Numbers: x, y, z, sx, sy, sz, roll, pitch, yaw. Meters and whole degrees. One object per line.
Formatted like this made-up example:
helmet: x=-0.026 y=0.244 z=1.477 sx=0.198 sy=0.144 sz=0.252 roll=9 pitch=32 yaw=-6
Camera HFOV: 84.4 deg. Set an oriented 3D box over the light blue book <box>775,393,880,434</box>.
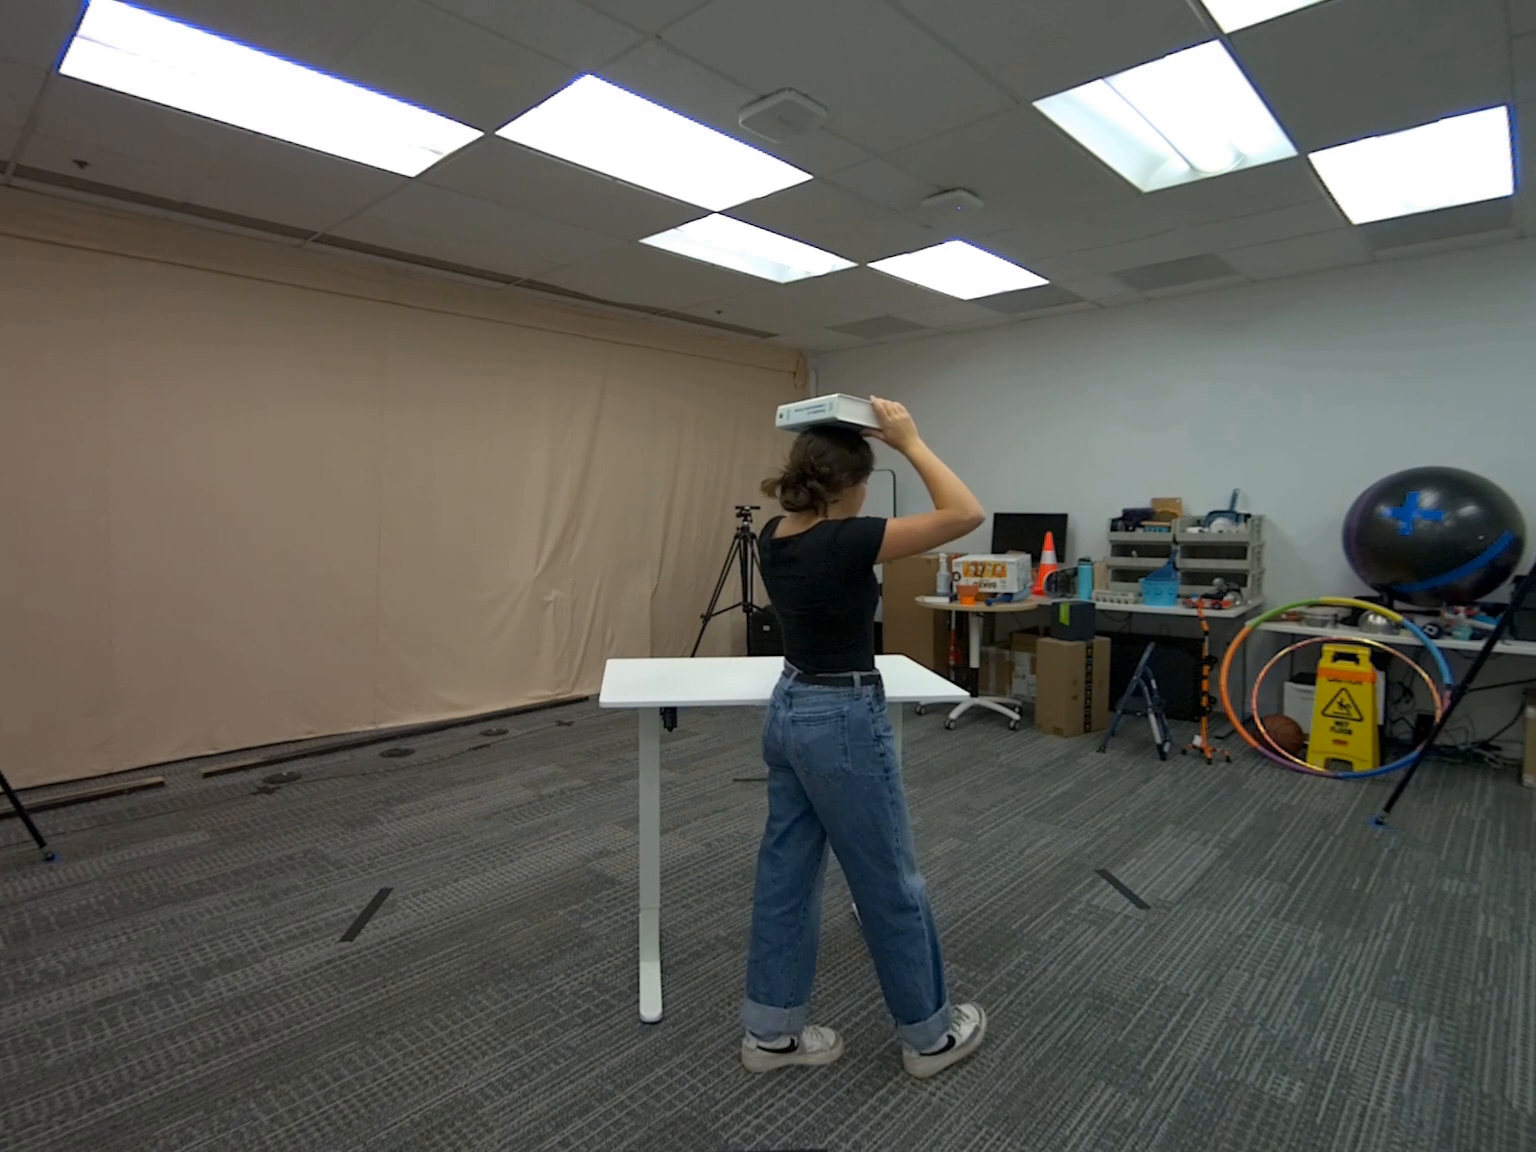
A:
light blue book: x=0.170 y=-0.388 z=2.058 sx=0.186 sy=0.059 sz=0.269 roll=5 pitch=2 yaw=-32
